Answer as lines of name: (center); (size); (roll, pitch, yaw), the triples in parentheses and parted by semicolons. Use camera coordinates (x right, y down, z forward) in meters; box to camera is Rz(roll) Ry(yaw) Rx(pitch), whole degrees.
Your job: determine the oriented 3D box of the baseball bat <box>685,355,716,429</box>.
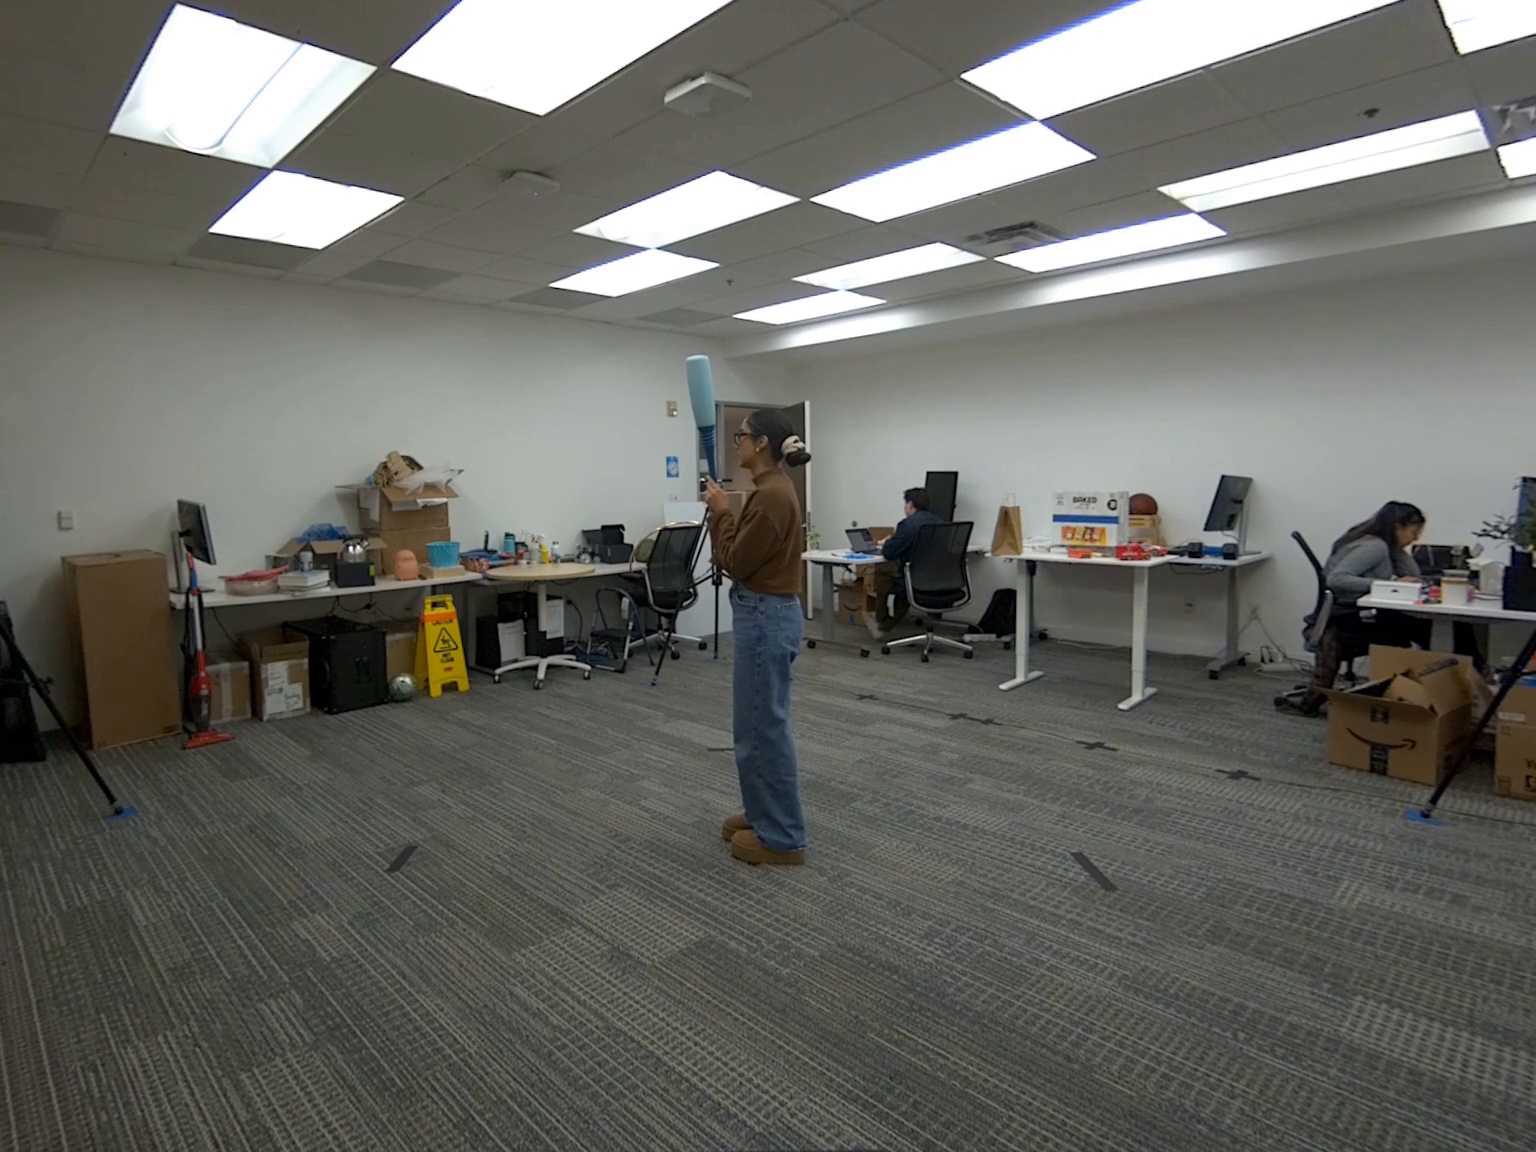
baseball bat: (-0.217, -0.540, 3.144); (0.089, 0.535, 0.090); (-8, 15, 1)
